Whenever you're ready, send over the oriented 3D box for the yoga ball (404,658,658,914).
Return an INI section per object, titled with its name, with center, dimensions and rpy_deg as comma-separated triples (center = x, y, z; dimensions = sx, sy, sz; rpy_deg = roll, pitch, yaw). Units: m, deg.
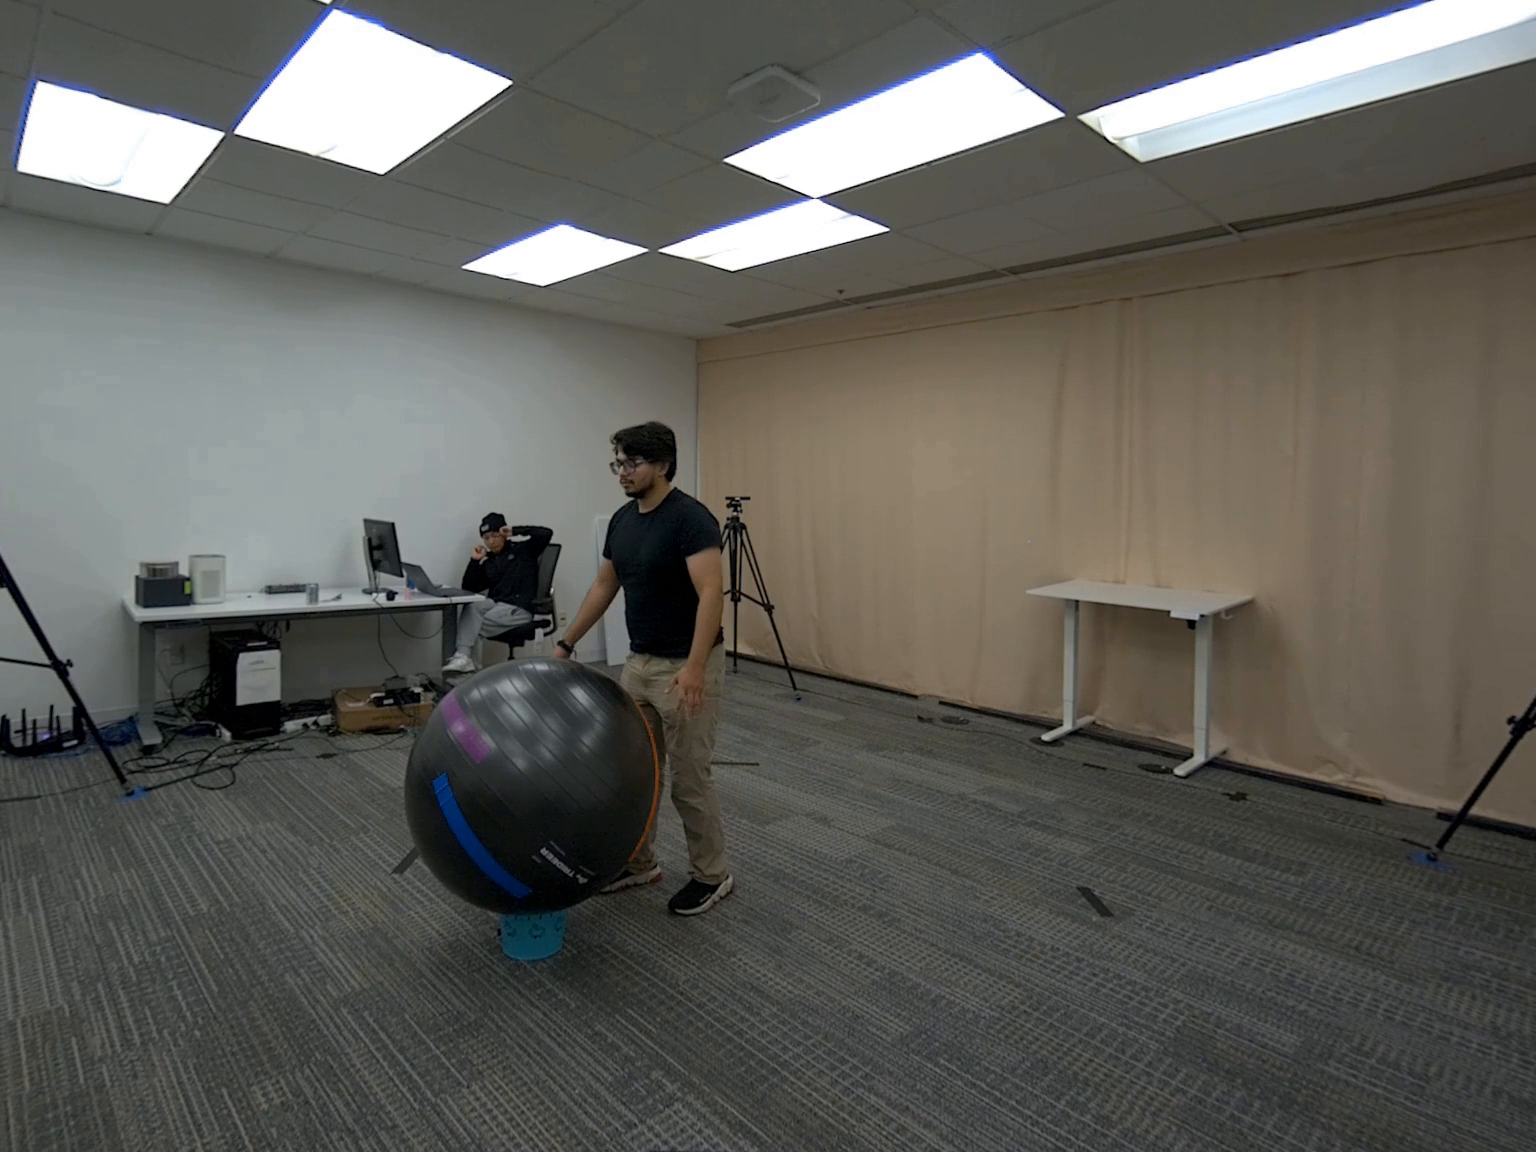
[yoga ball]
center = -0.713, 0.637, 2.583
dimensions = 0.757, 0.756, 0.761
rpy_deg = 1, 4, -1
